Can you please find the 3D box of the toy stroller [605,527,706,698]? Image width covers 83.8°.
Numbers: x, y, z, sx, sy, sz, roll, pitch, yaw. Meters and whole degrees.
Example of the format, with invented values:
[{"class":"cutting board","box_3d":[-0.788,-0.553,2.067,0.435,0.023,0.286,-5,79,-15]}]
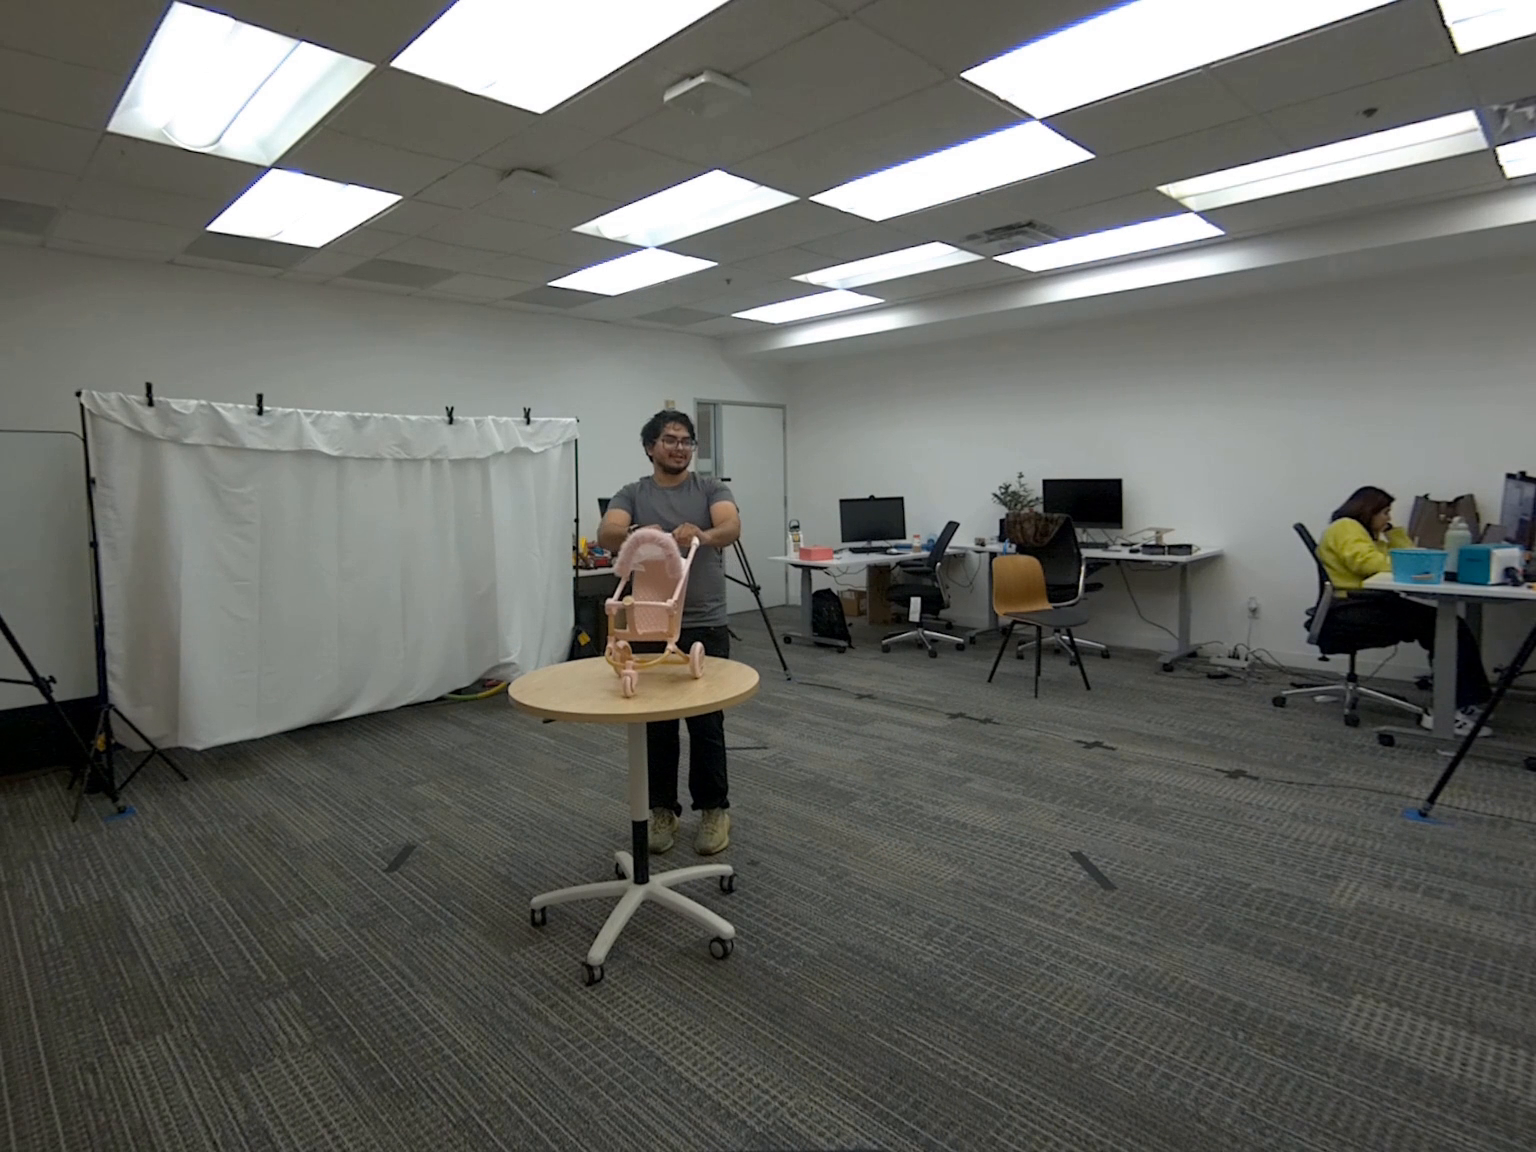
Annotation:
[{"class":"toy stroller","box_3d":[-0.363,0.101,2.591,0.286,0.540,0.333,-1,-10,17]}]
